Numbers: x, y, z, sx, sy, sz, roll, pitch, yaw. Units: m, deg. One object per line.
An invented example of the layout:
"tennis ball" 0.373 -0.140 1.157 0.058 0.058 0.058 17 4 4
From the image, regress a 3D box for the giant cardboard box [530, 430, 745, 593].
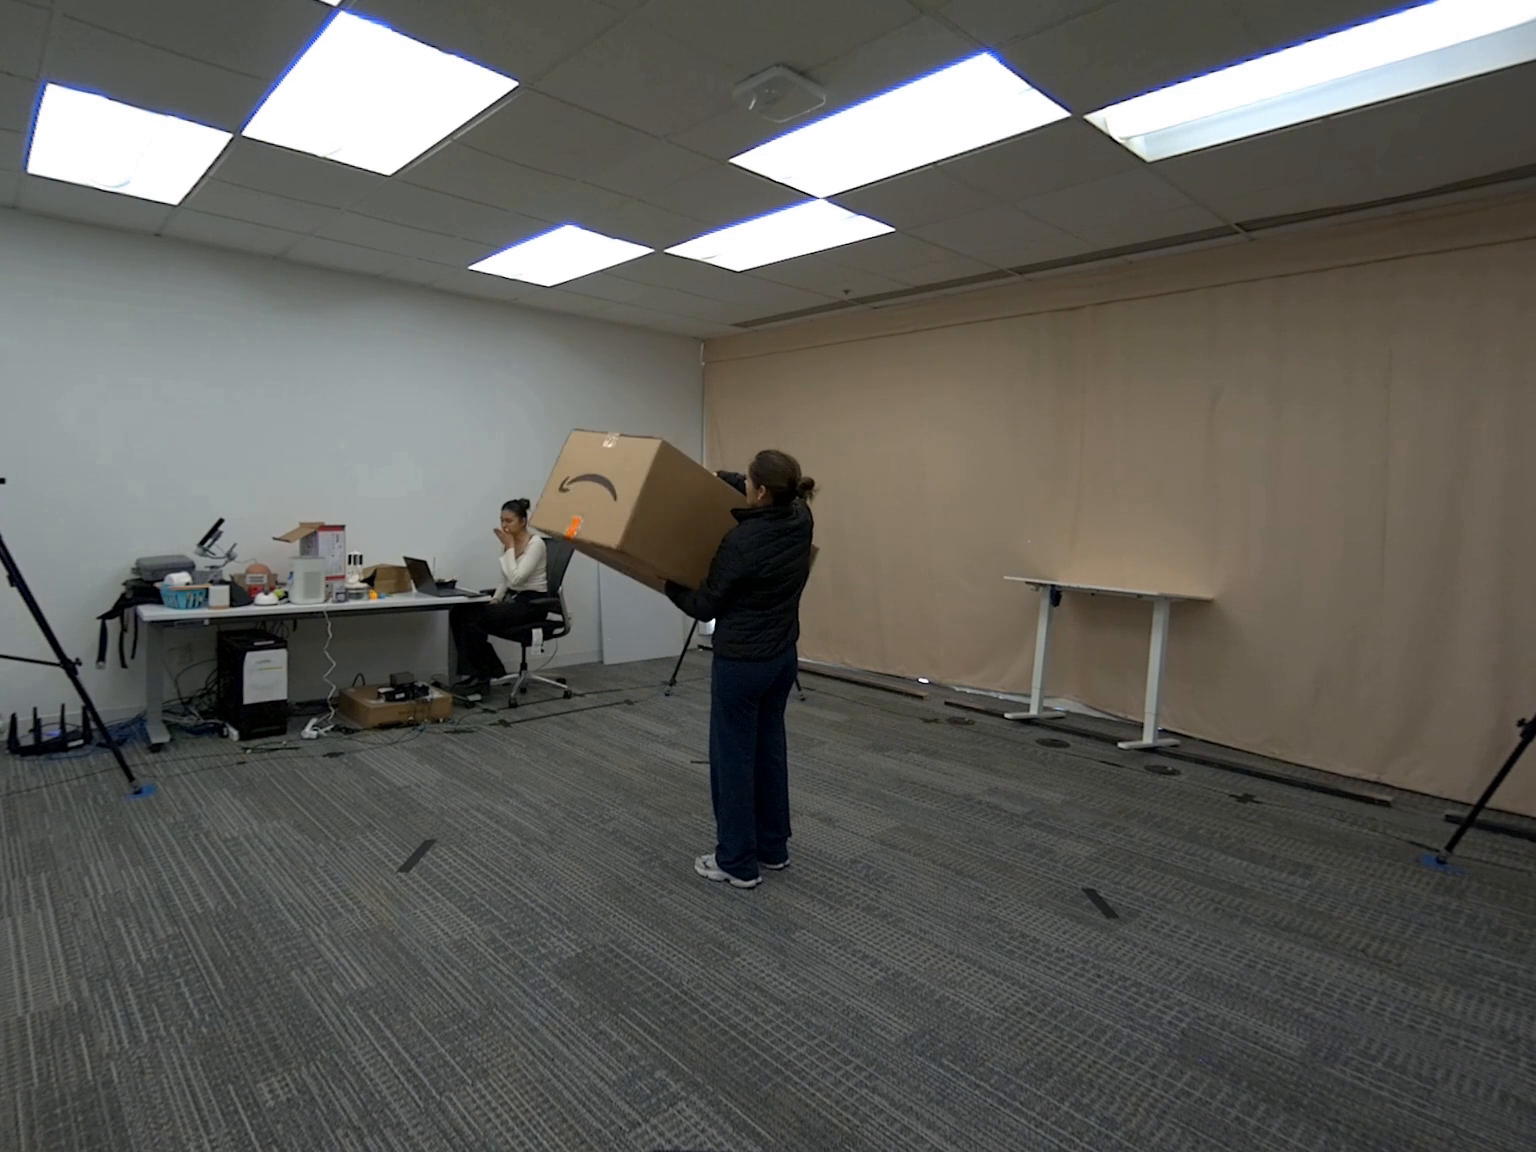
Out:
"giant cardboard box" -0.357 -0.146 3.427 0.594 0.428 0.993 14 -12 43
